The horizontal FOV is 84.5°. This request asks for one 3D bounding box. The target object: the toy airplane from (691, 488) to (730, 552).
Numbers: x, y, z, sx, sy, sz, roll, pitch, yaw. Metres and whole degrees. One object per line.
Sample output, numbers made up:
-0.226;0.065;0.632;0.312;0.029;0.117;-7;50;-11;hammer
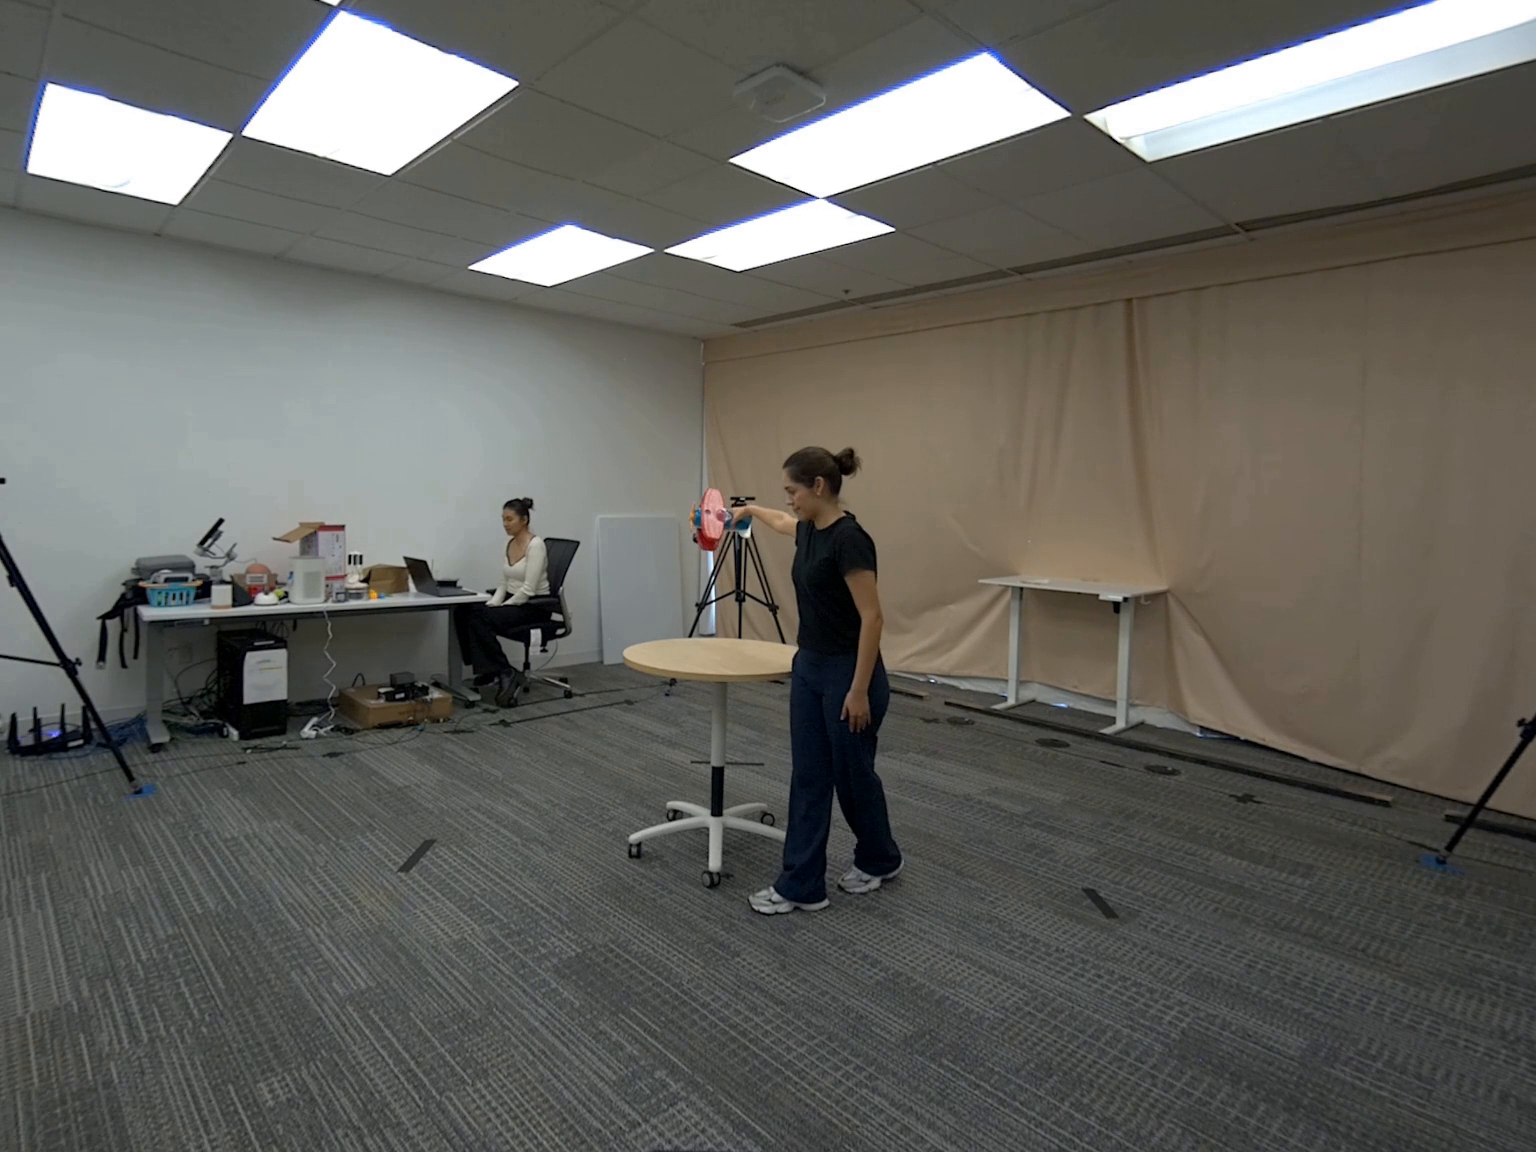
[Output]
-0.204;-0.237;3.480;0.257;0.258;0.153;-23;-29;-17;toy airplane
